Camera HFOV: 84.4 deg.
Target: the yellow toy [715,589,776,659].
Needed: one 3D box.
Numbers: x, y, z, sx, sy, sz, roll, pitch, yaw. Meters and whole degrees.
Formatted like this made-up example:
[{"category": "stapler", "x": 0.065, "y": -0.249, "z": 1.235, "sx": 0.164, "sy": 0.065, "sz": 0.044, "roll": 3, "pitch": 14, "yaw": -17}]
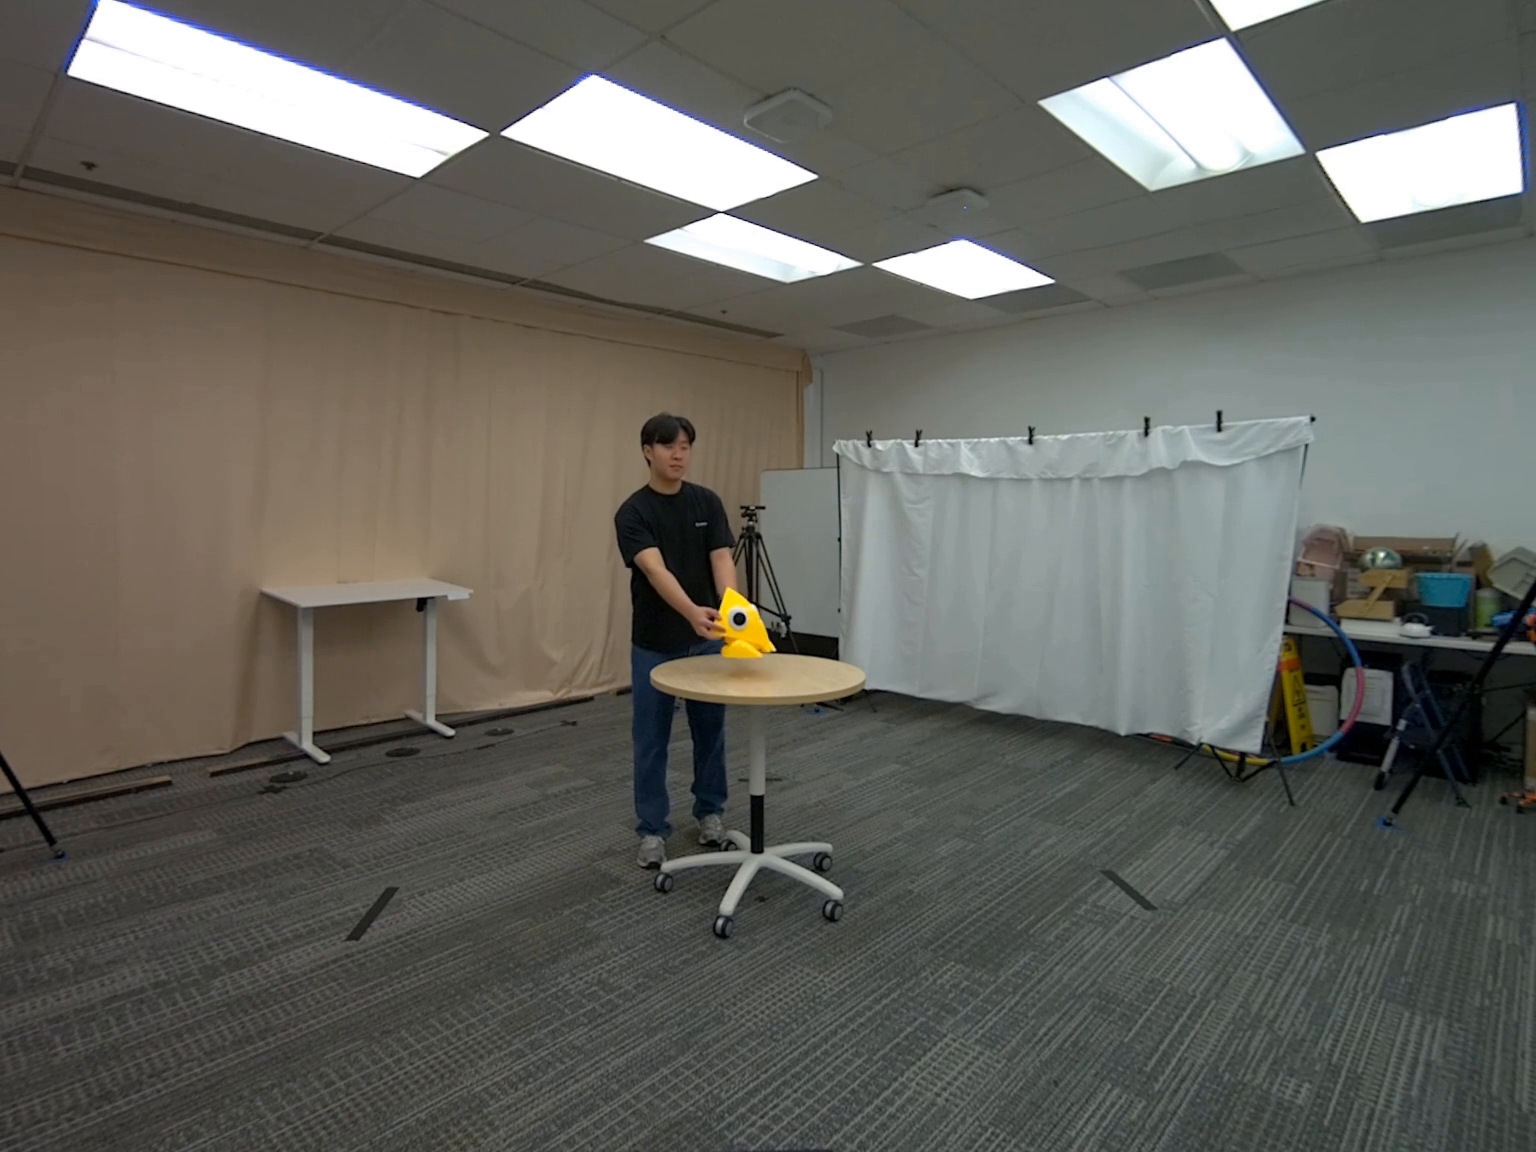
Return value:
[{"category": "yellow toy", "x": -0.085, "y": 0.156, "z": 2.953, "sx": 0.198, "sy": 0.230, "sz": 0.200, "roll": 0, "pitch": 5, "yaw": 24}]
